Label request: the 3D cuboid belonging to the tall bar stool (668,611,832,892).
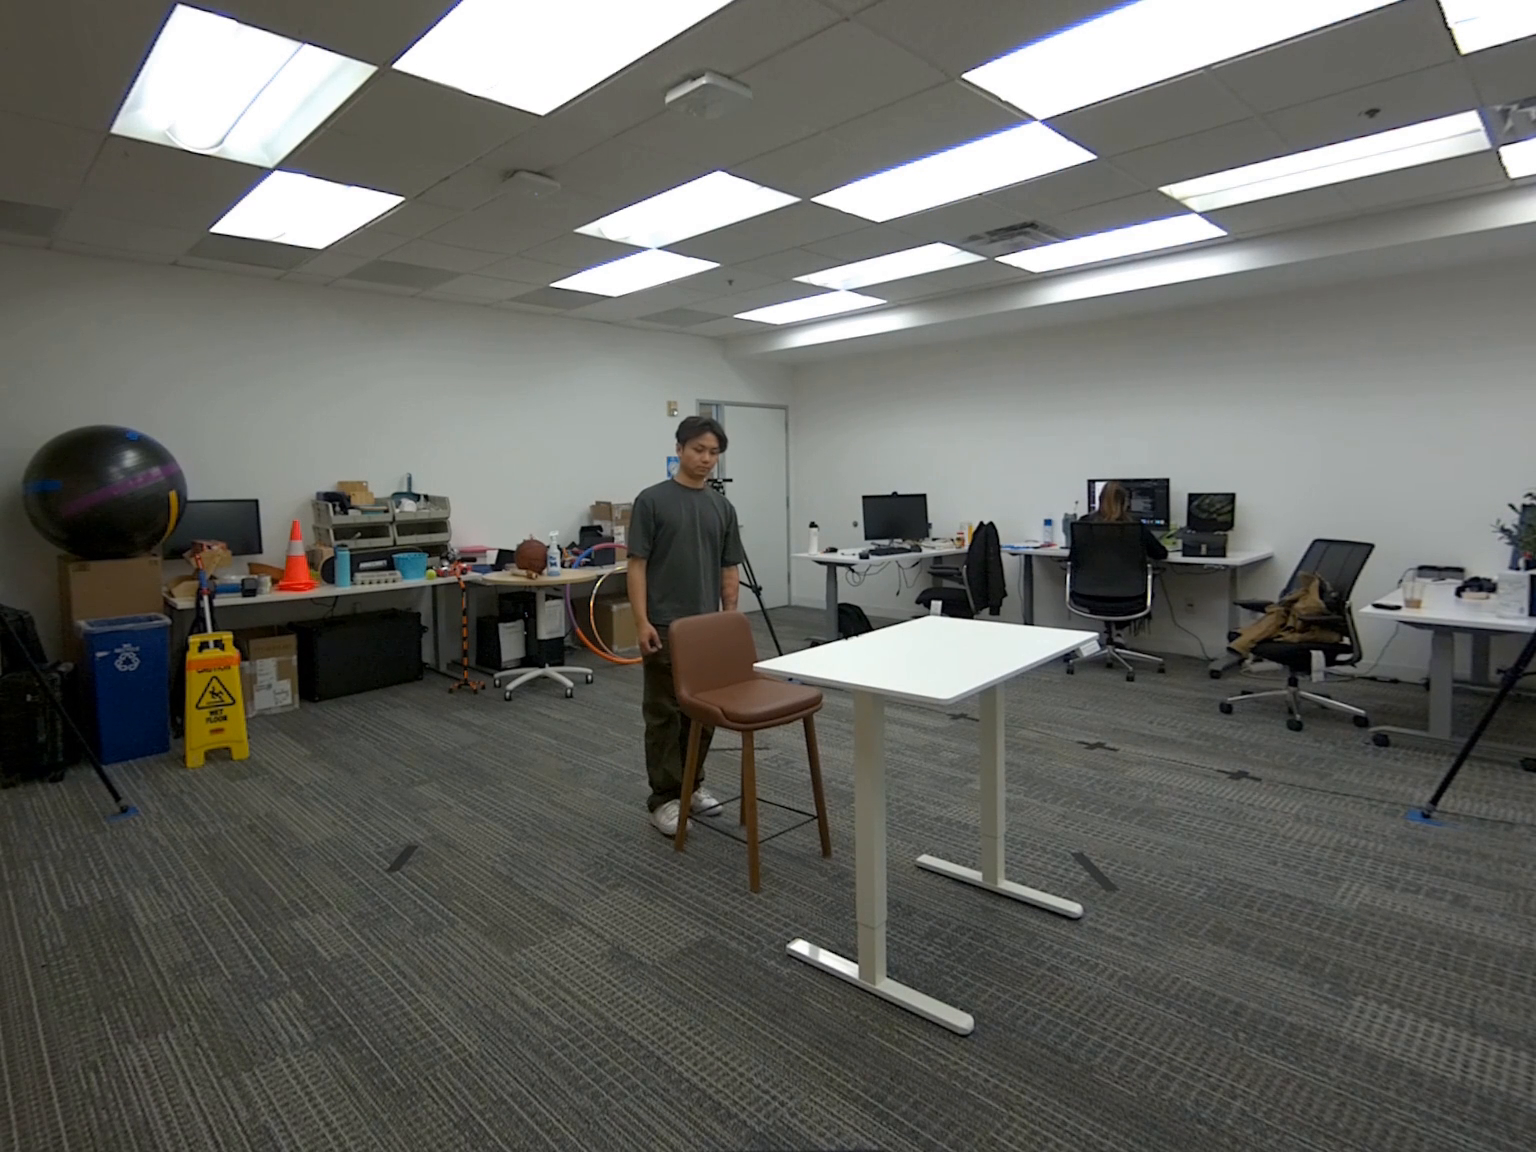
[{"bbox_3d":[-0.071,0.602,3.162,0.444,0.887,0.481,-4,4,-45],"label":"tall bar stool"}]
